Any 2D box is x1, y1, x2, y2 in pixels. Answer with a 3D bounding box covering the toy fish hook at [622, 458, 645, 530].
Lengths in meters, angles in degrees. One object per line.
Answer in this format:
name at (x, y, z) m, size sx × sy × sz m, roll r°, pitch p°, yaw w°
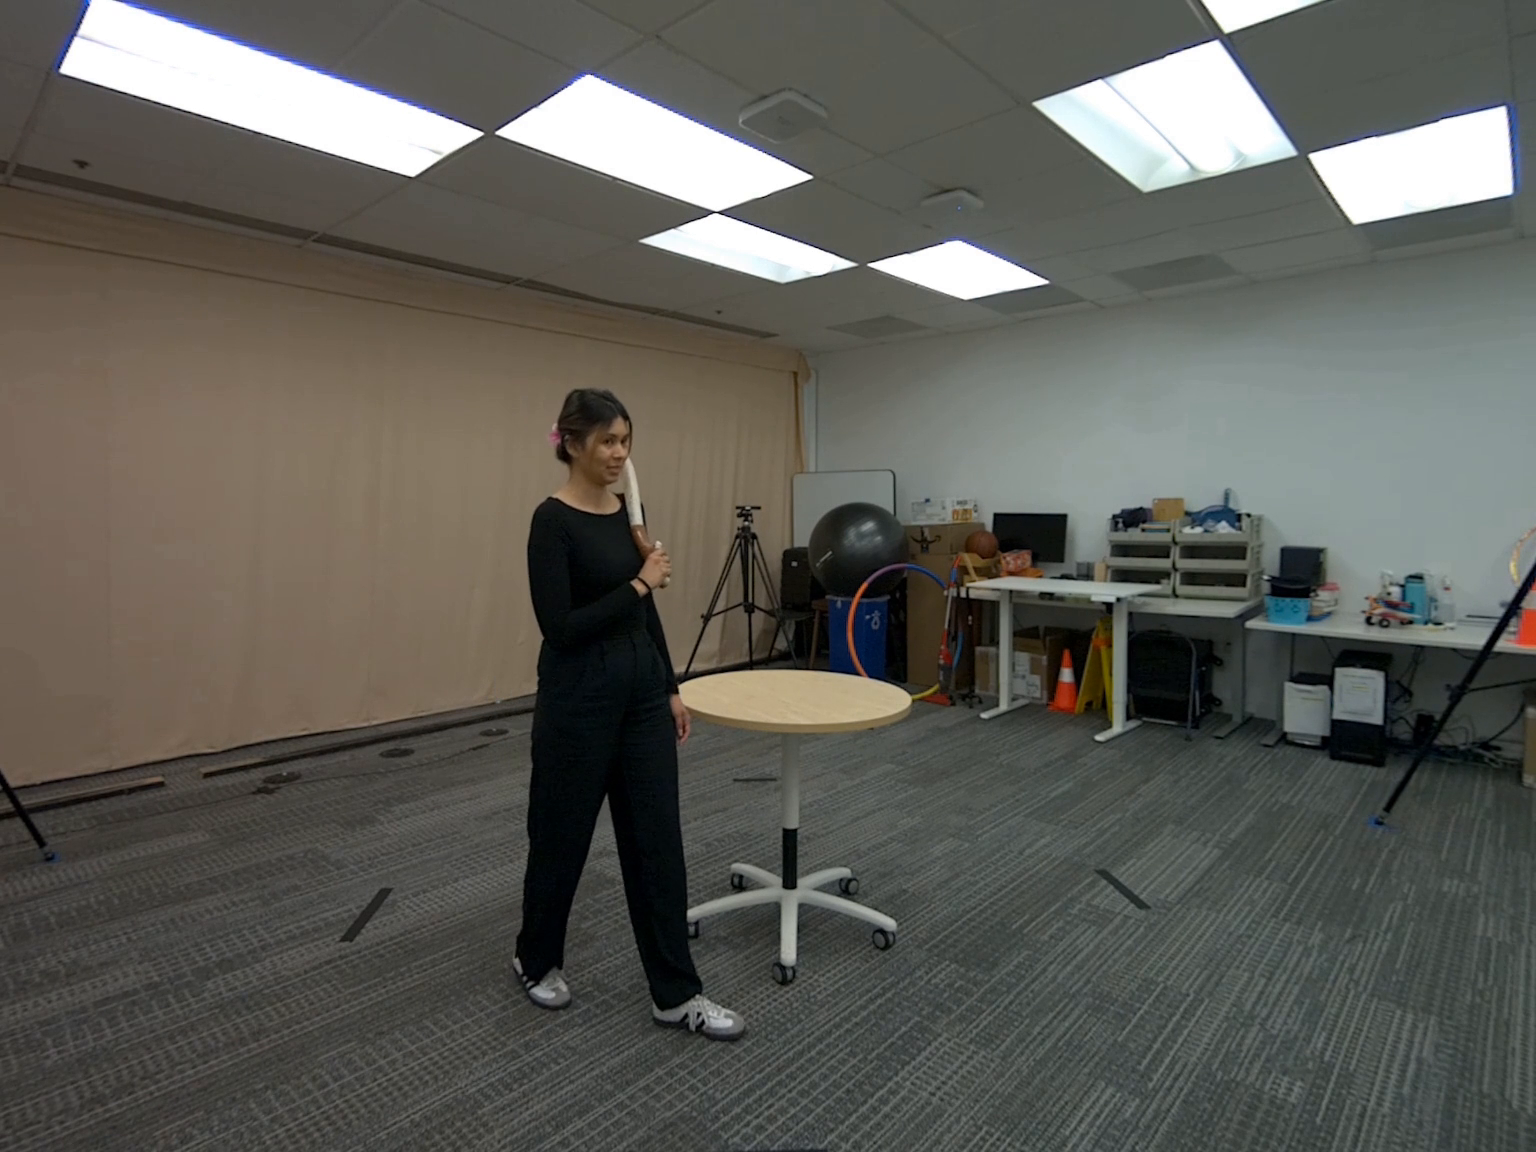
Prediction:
toy fish hook at (-0.408, -0.148, 2.362) m, size 0.047 × 0.520 × 0.226 m, roll 8°, pitch -44°, yaw -48°
